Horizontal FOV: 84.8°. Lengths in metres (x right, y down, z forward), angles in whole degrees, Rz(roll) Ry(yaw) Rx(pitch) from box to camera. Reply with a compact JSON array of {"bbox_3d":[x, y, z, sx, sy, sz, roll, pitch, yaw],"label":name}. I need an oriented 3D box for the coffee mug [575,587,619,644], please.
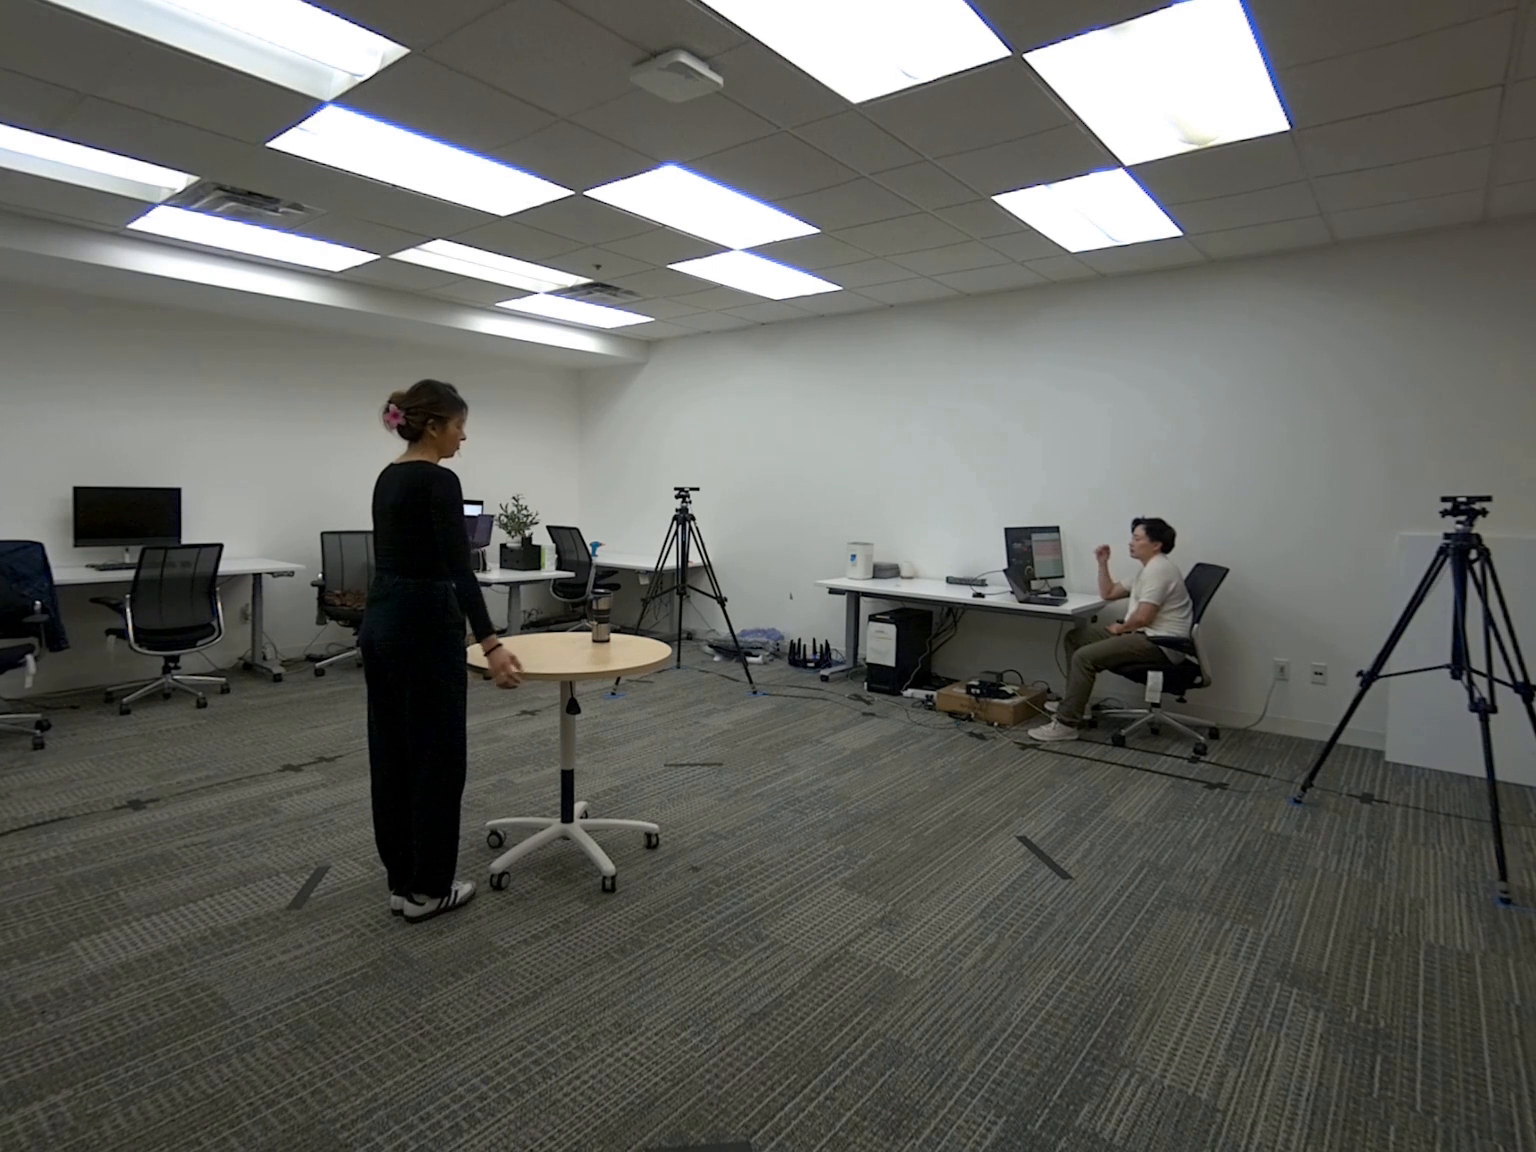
[{"bbox_3d":[-0.674,0.152,3.300,0.118,0.202,0.091,2,5,-38],"label":"coffee mug"}]
